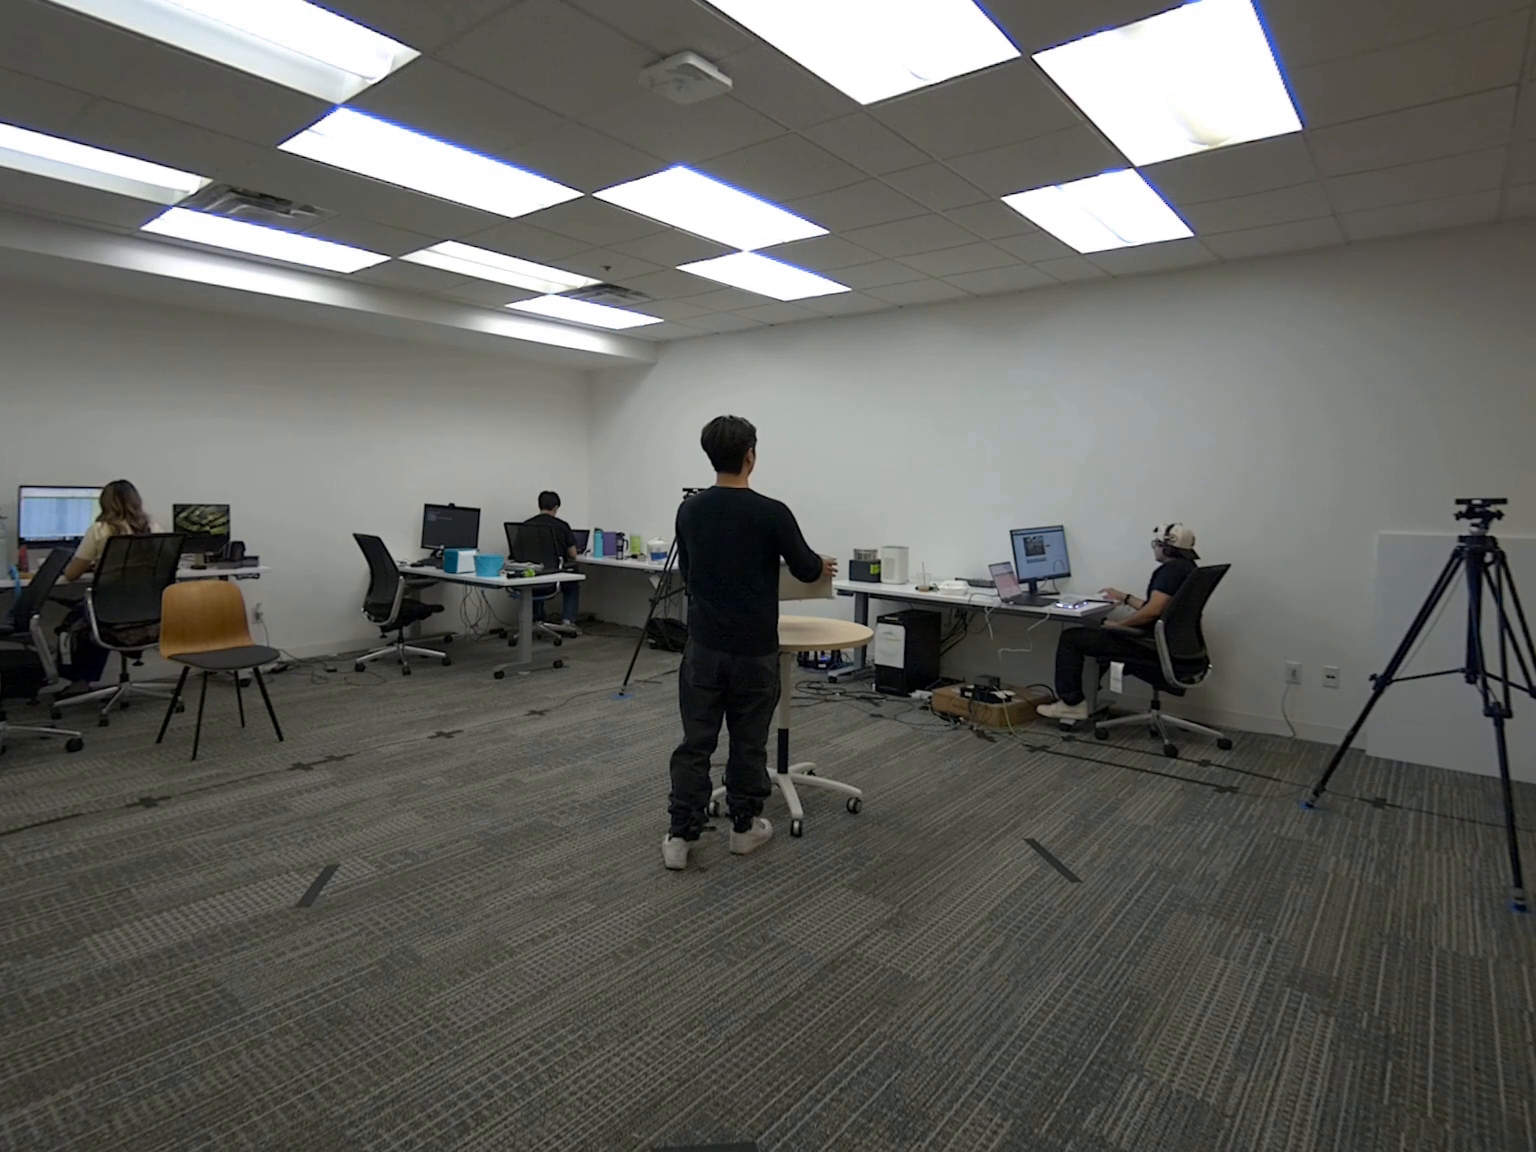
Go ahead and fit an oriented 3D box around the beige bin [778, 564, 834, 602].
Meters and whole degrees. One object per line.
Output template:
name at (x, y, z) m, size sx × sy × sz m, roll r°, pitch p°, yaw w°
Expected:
beige bin at (0.044, 0.003, 3.773) m, size 0.418 × 0.188 × 0.384 m, roll -2°, pitch 7°, yaw -11°
